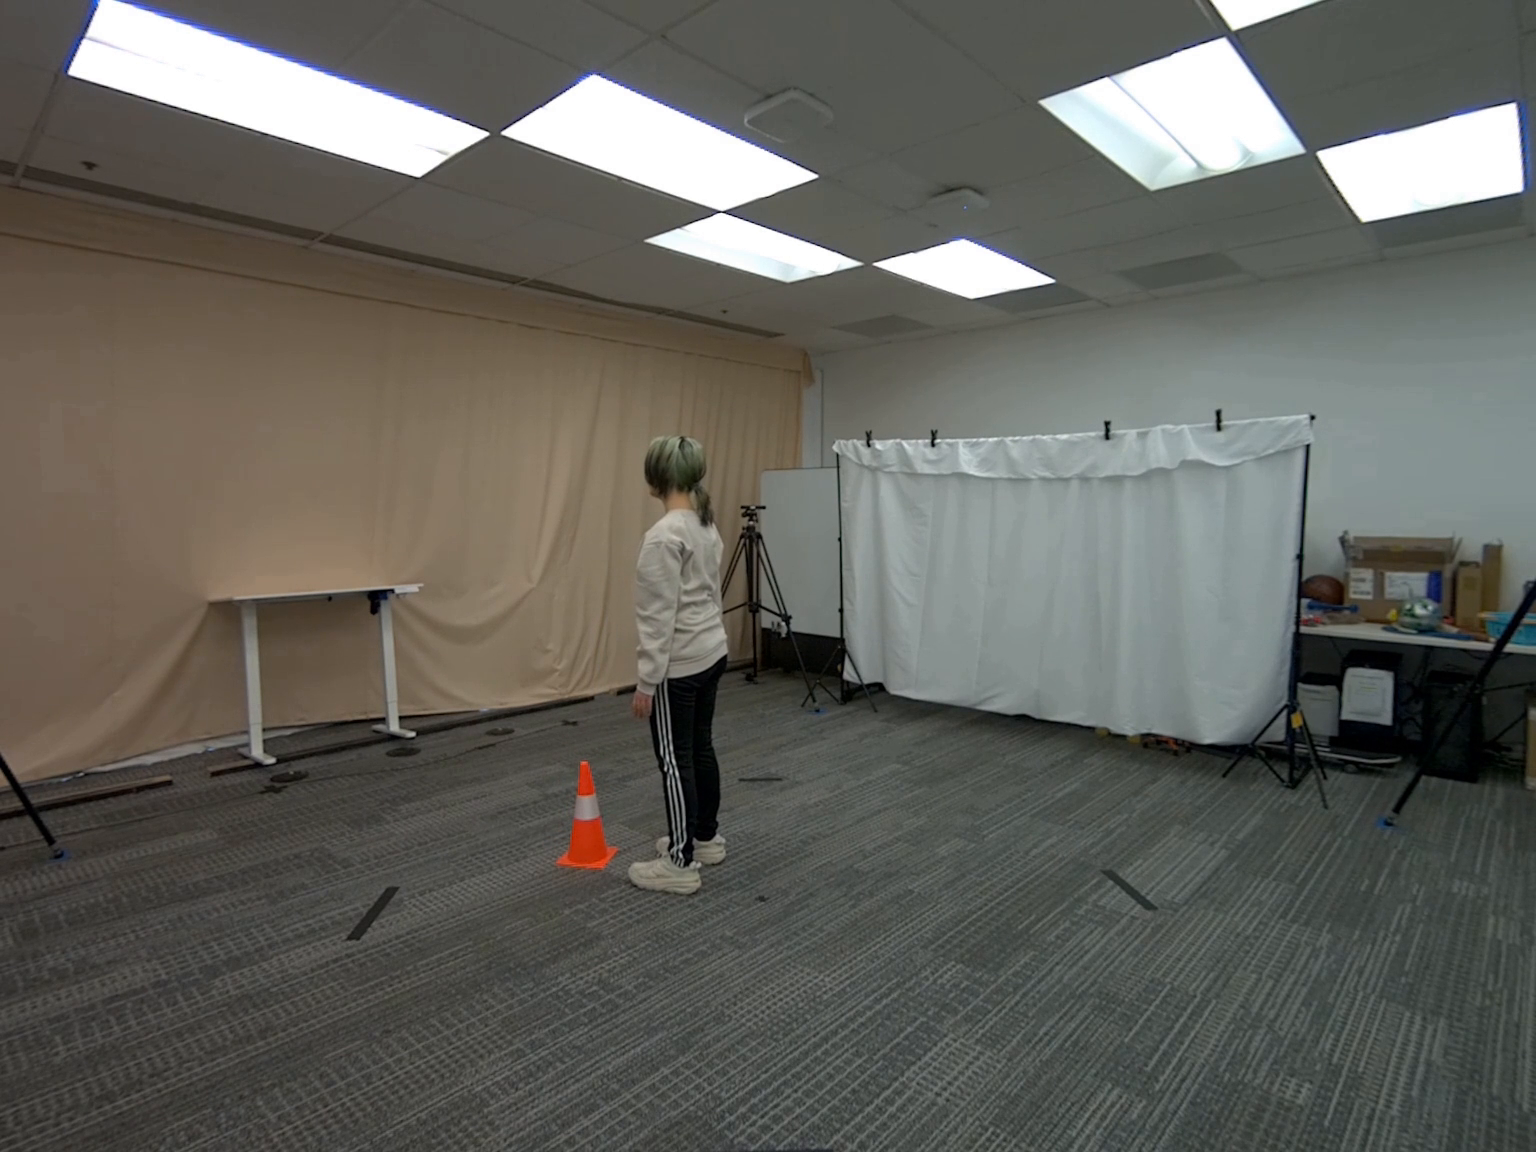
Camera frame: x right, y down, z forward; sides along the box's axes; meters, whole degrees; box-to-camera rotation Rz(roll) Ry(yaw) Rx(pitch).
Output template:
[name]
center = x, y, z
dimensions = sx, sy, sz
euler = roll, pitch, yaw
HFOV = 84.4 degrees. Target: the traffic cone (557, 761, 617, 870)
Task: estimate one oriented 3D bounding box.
[traffic cone]
center = -0.720, 0.936, 3.345
dimensions = 0.206, 0.382, 0.203
euler = 0, 5, 5
